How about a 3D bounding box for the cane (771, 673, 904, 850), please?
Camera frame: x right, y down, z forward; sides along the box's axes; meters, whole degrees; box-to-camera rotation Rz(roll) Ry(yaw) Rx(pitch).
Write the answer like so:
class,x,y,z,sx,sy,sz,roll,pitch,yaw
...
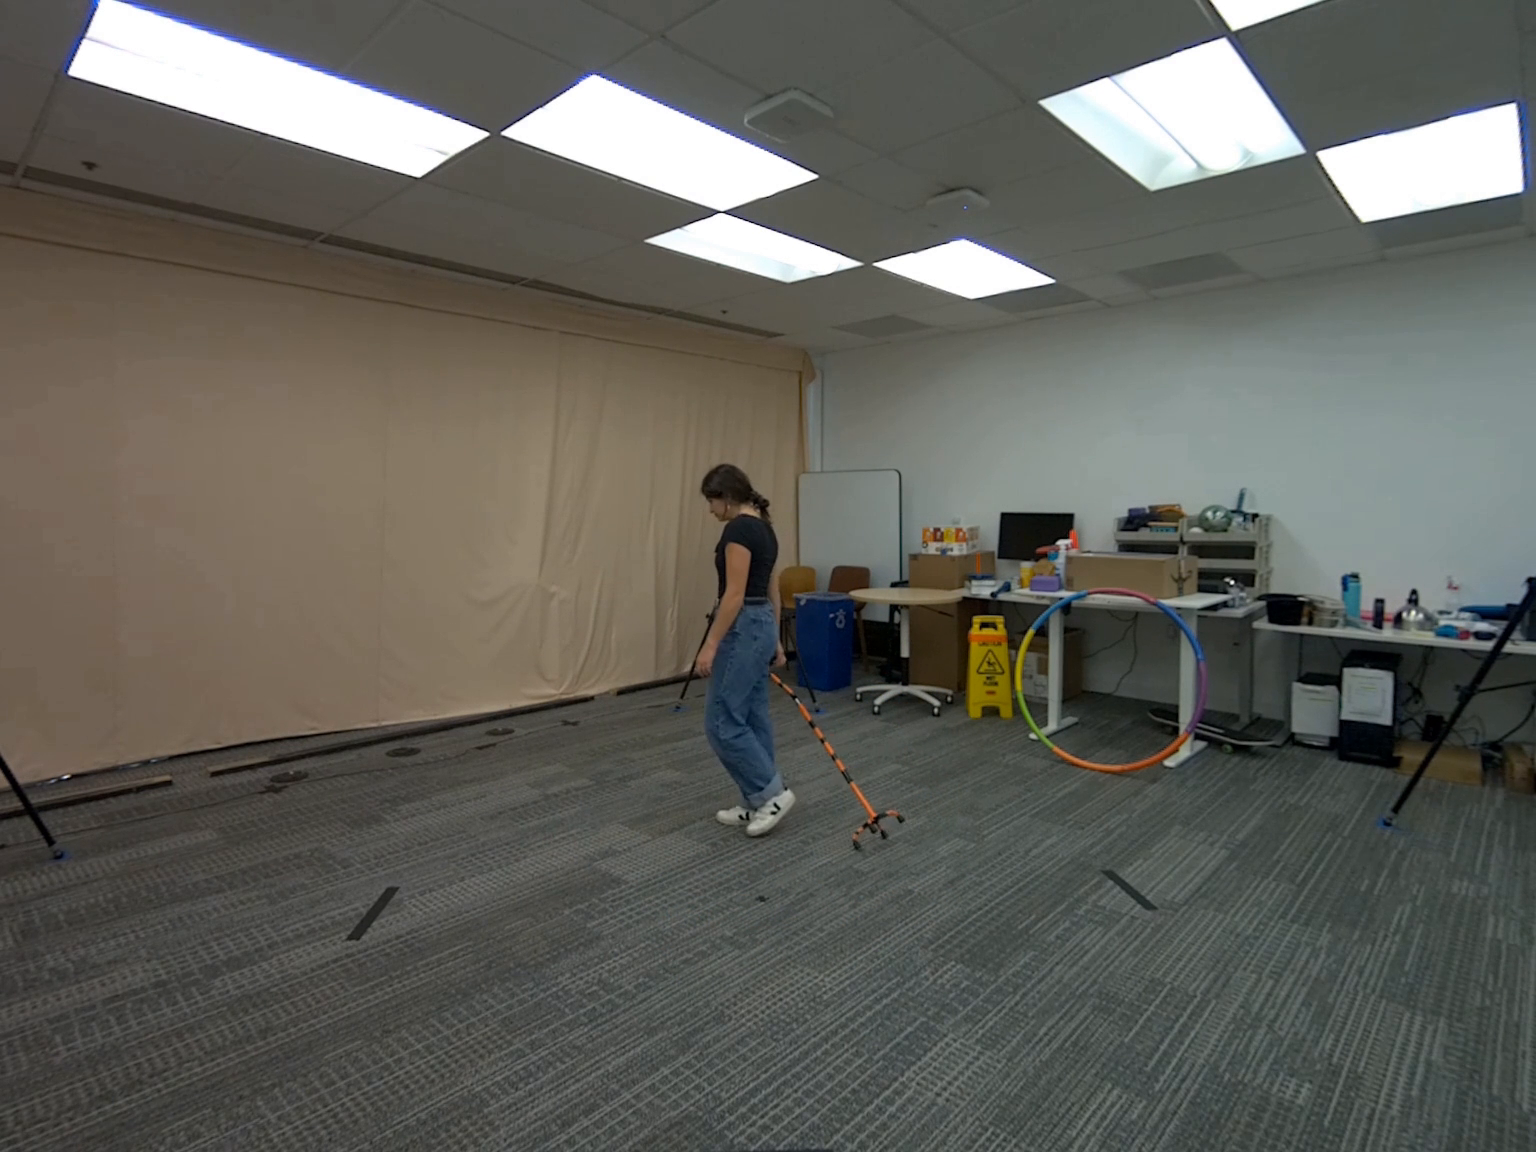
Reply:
class,x,y,z,sx,sy,sz,roll,pitch,yaw
cane,0.250,0.726,3.666,0.200,0.152,0.936,-1,45,-41
